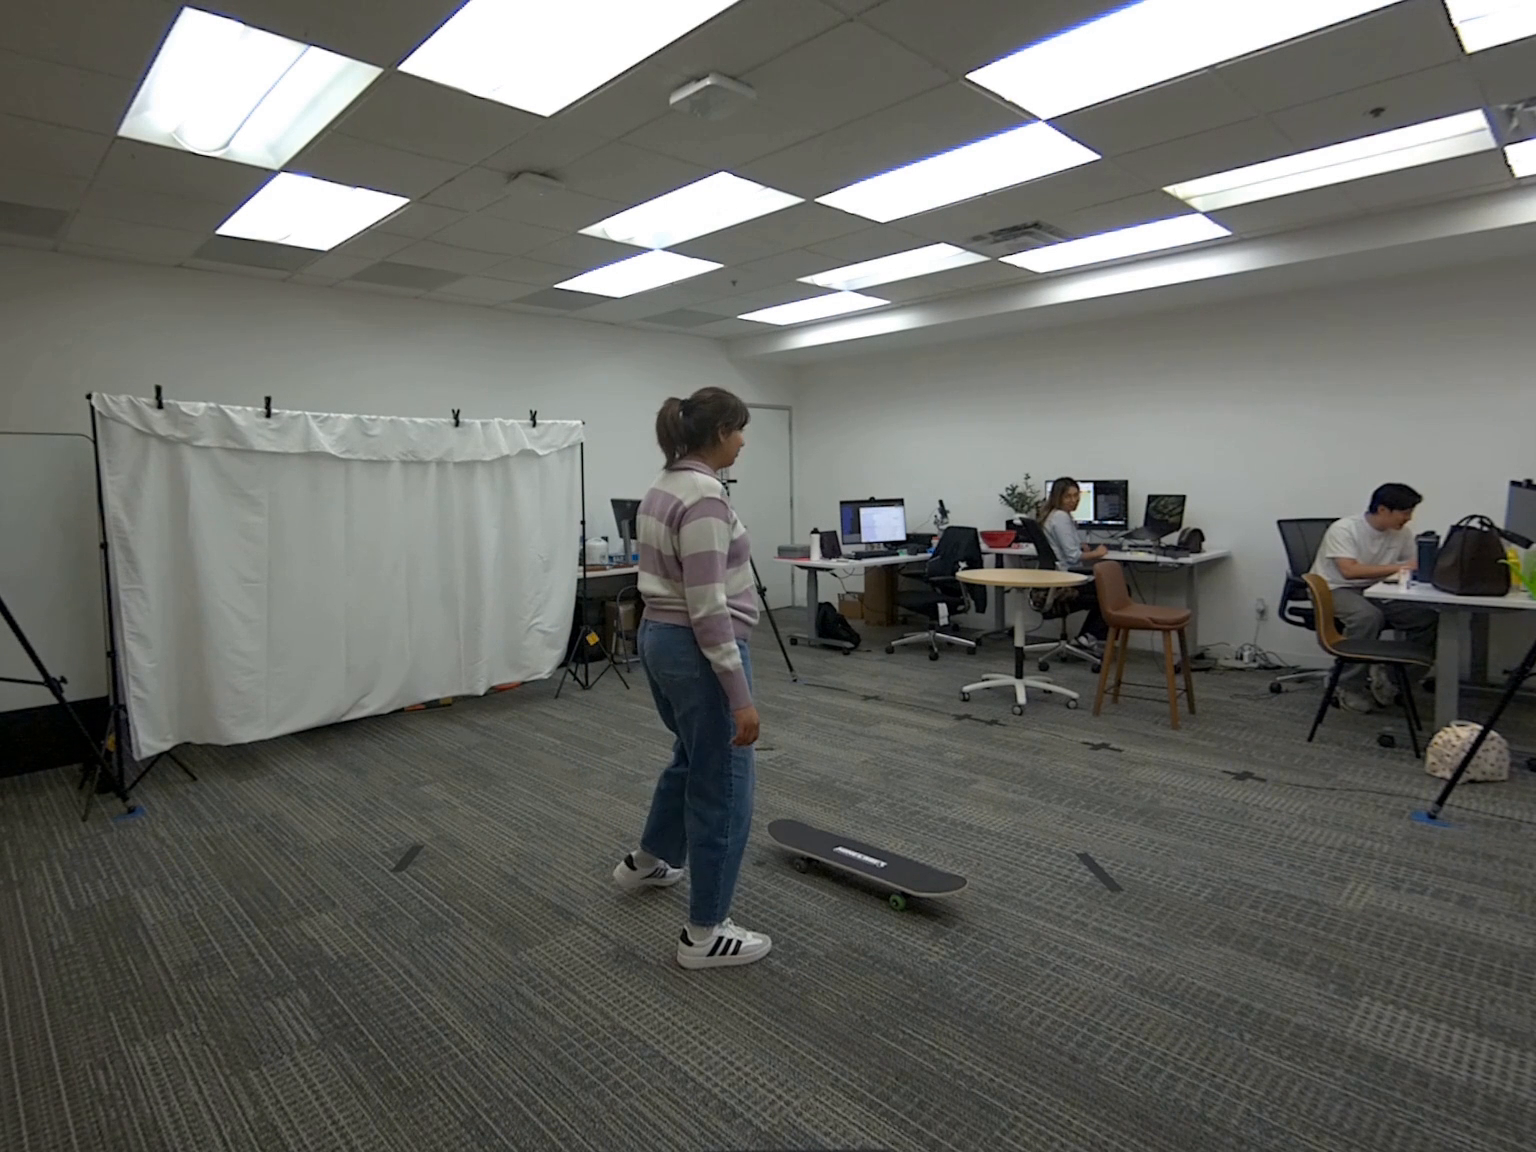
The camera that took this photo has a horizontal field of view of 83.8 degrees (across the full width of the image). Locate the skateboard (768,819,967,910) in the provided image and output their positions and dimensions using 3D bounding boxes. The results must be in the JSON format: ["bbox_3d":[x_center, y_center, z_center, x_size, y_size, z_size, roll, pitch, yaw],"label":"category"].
[{"bbox_3d":[0.320,1.004,2.945,0.810,0.110,0.188,5,9,42],"label":"skateboard"}]
